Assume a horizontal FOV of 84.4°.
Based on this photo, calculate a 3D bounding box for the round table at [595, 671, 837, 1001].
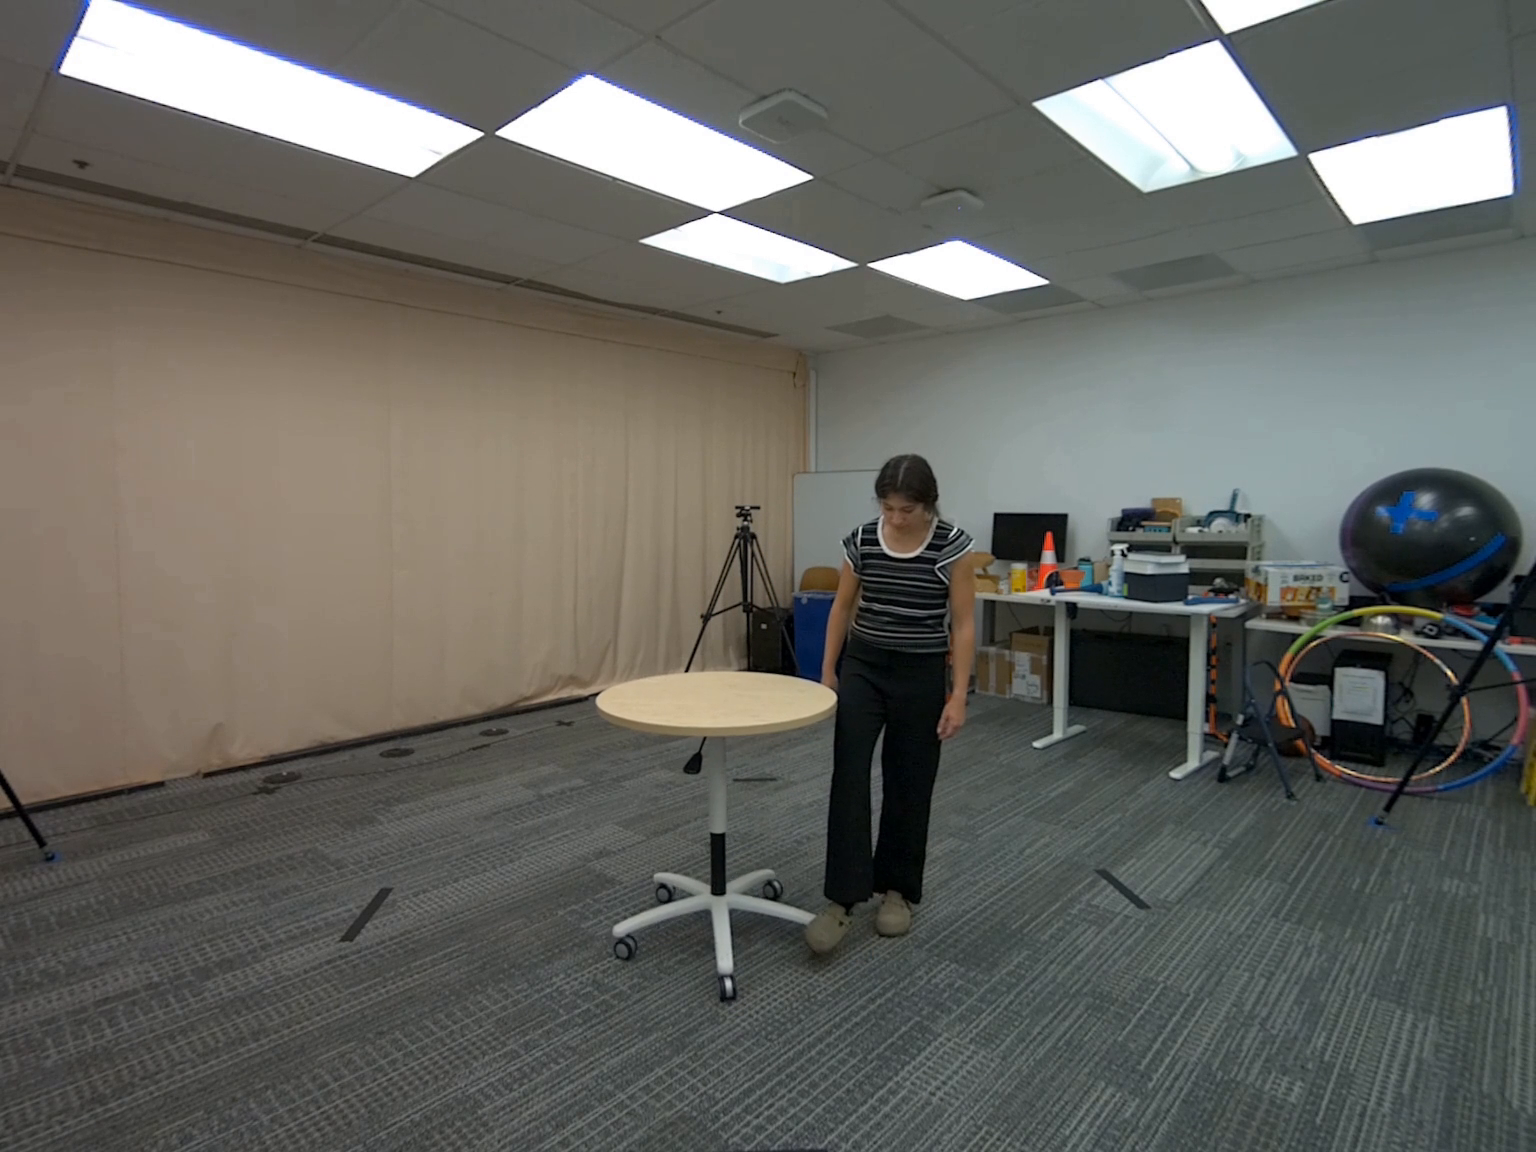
[{"bbox_3d":[-0.146,0.774,2.717,0.784,0.784,0.788,0,4,-2],"label":"round table"}]
